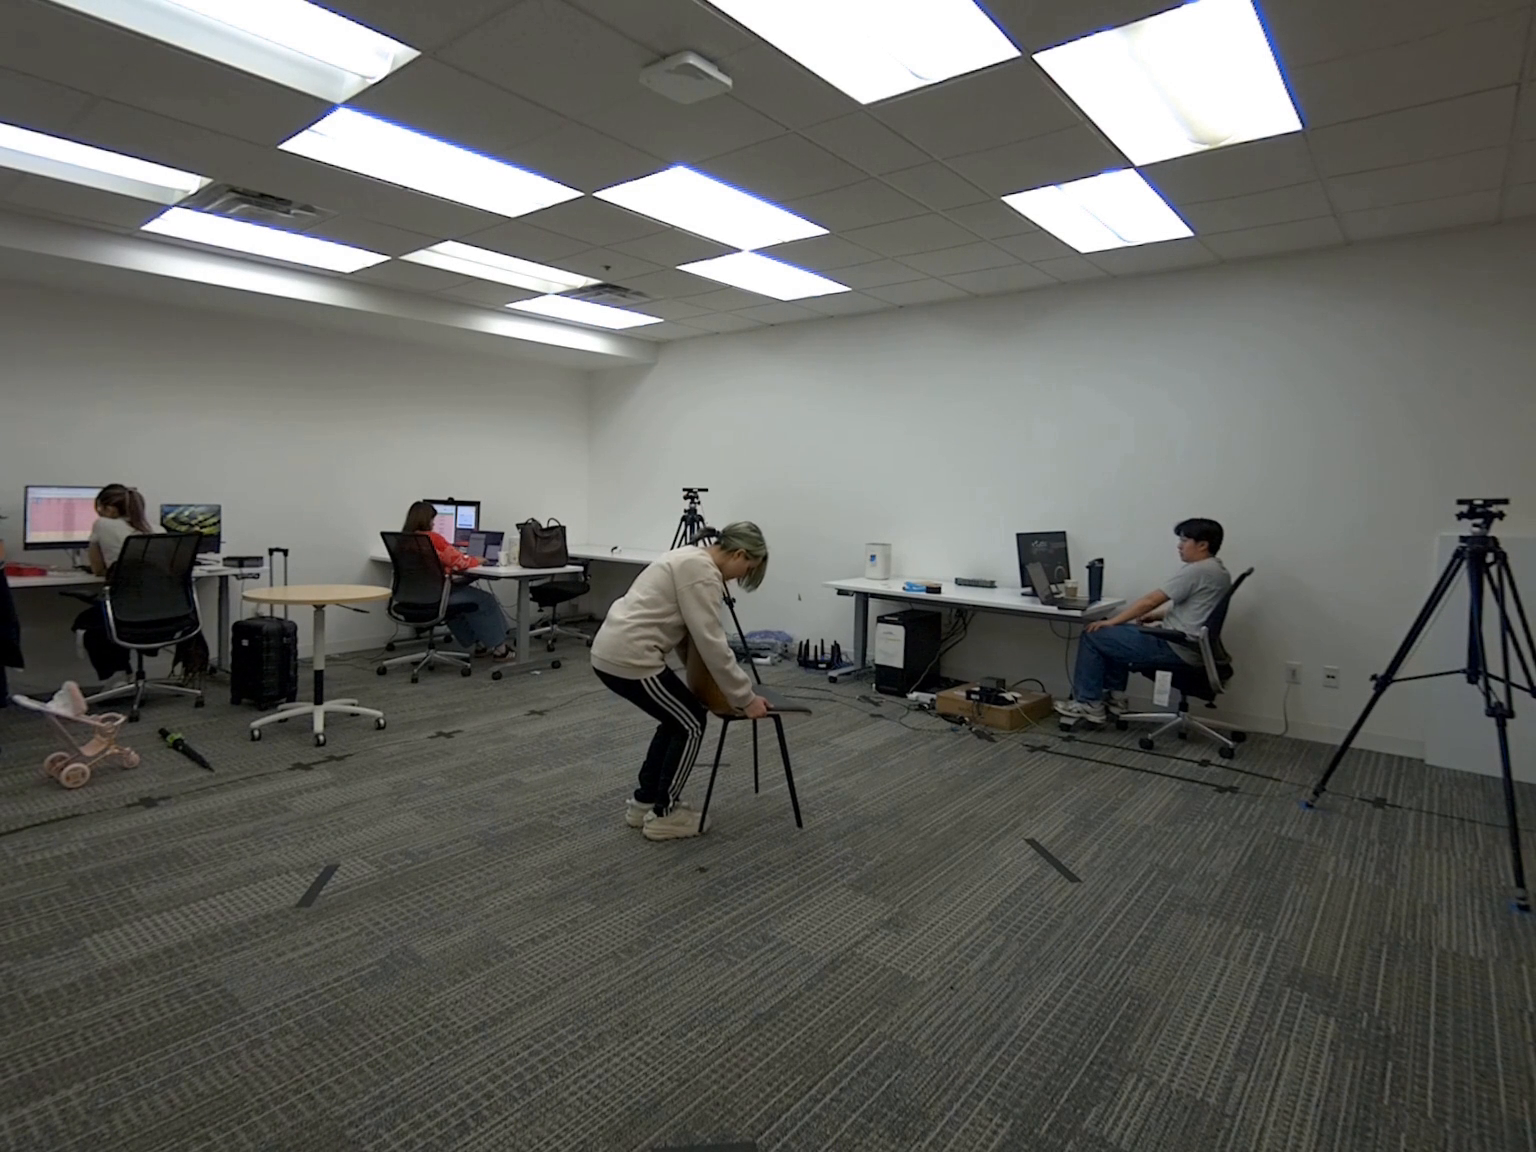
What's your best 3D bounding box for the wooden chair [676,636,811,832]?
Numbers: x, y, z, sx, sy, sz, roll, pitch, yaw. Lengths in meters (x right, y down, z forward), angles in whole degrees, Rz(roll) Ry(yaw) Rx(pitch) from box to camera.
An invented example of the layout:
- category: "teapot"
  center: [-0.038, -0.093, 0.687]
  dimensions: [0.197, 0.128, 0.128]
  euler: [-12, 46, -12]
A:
- category: "wooden chair"
  center: [-0.115, 0.572, 3.584]
  dimensions: [0.511, 0.875, 0.490]
  euler: [-1, 3, -24]
